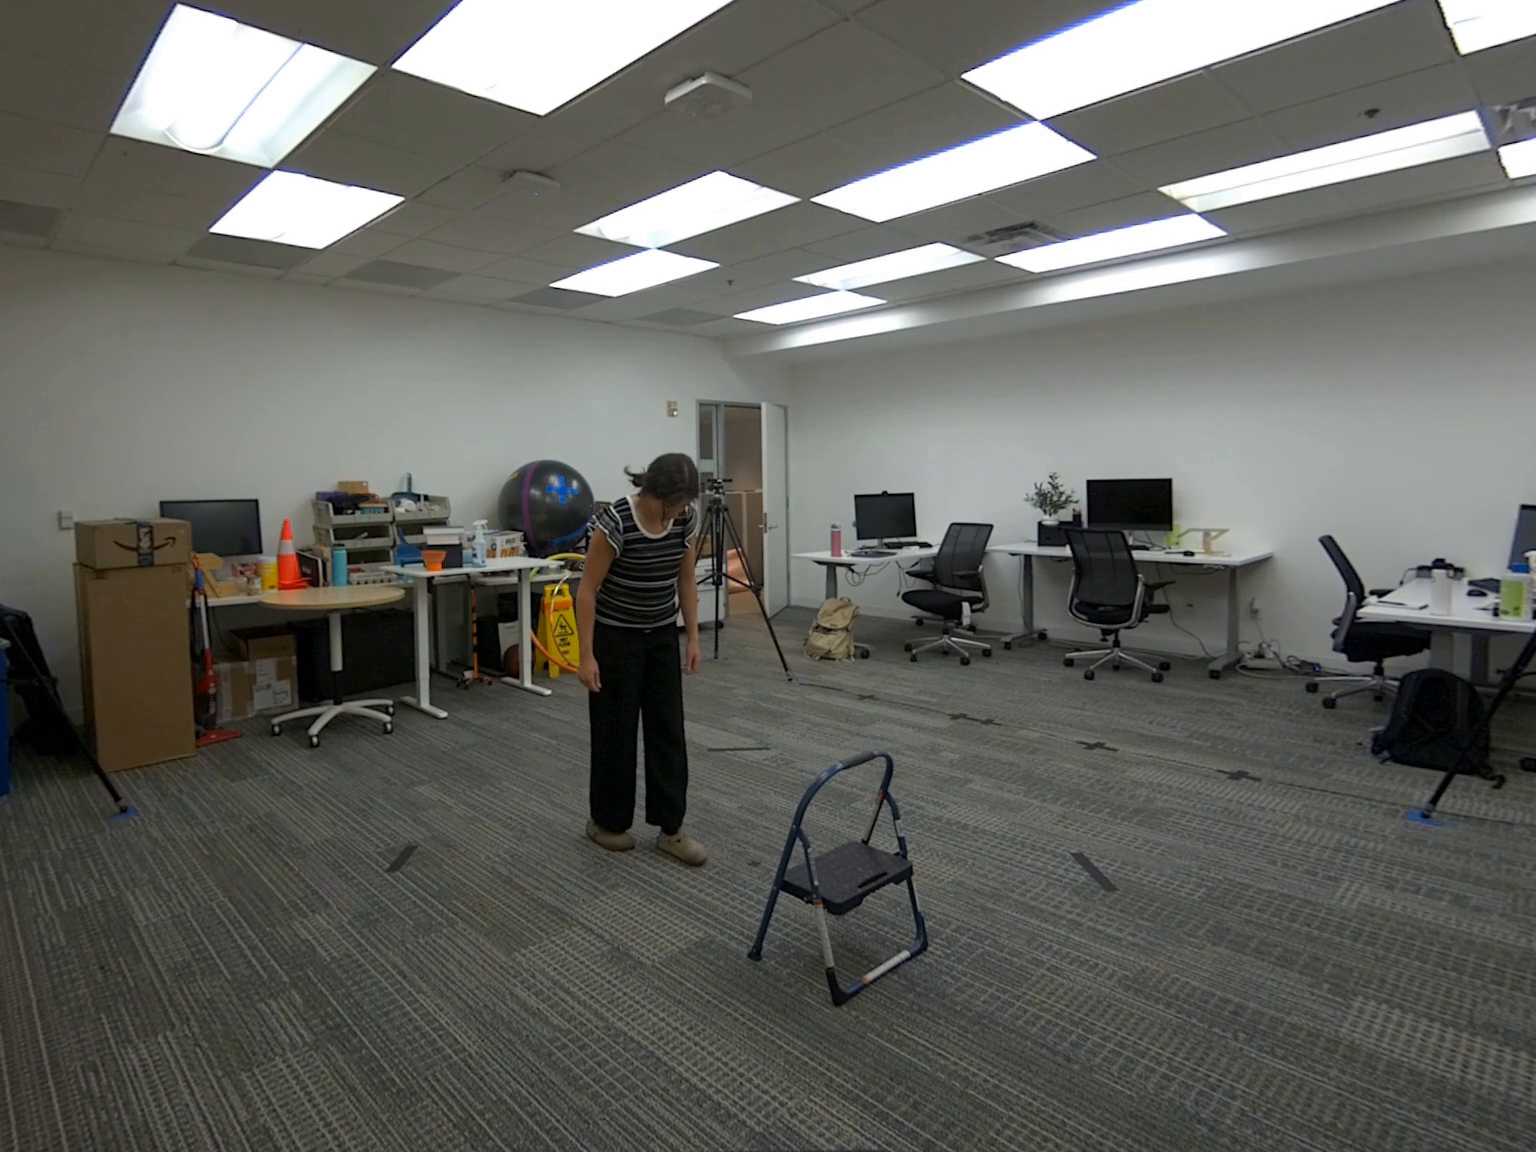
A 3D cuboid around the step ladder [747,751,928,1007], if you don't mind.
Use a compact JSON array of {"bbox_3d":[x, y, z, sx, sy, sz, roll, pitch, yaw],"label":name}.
[{"bbox_3d":[0.209,0.811,2.497,0.419,0.604,0.360,-6,6,-44],"label":"step ladder"}]
